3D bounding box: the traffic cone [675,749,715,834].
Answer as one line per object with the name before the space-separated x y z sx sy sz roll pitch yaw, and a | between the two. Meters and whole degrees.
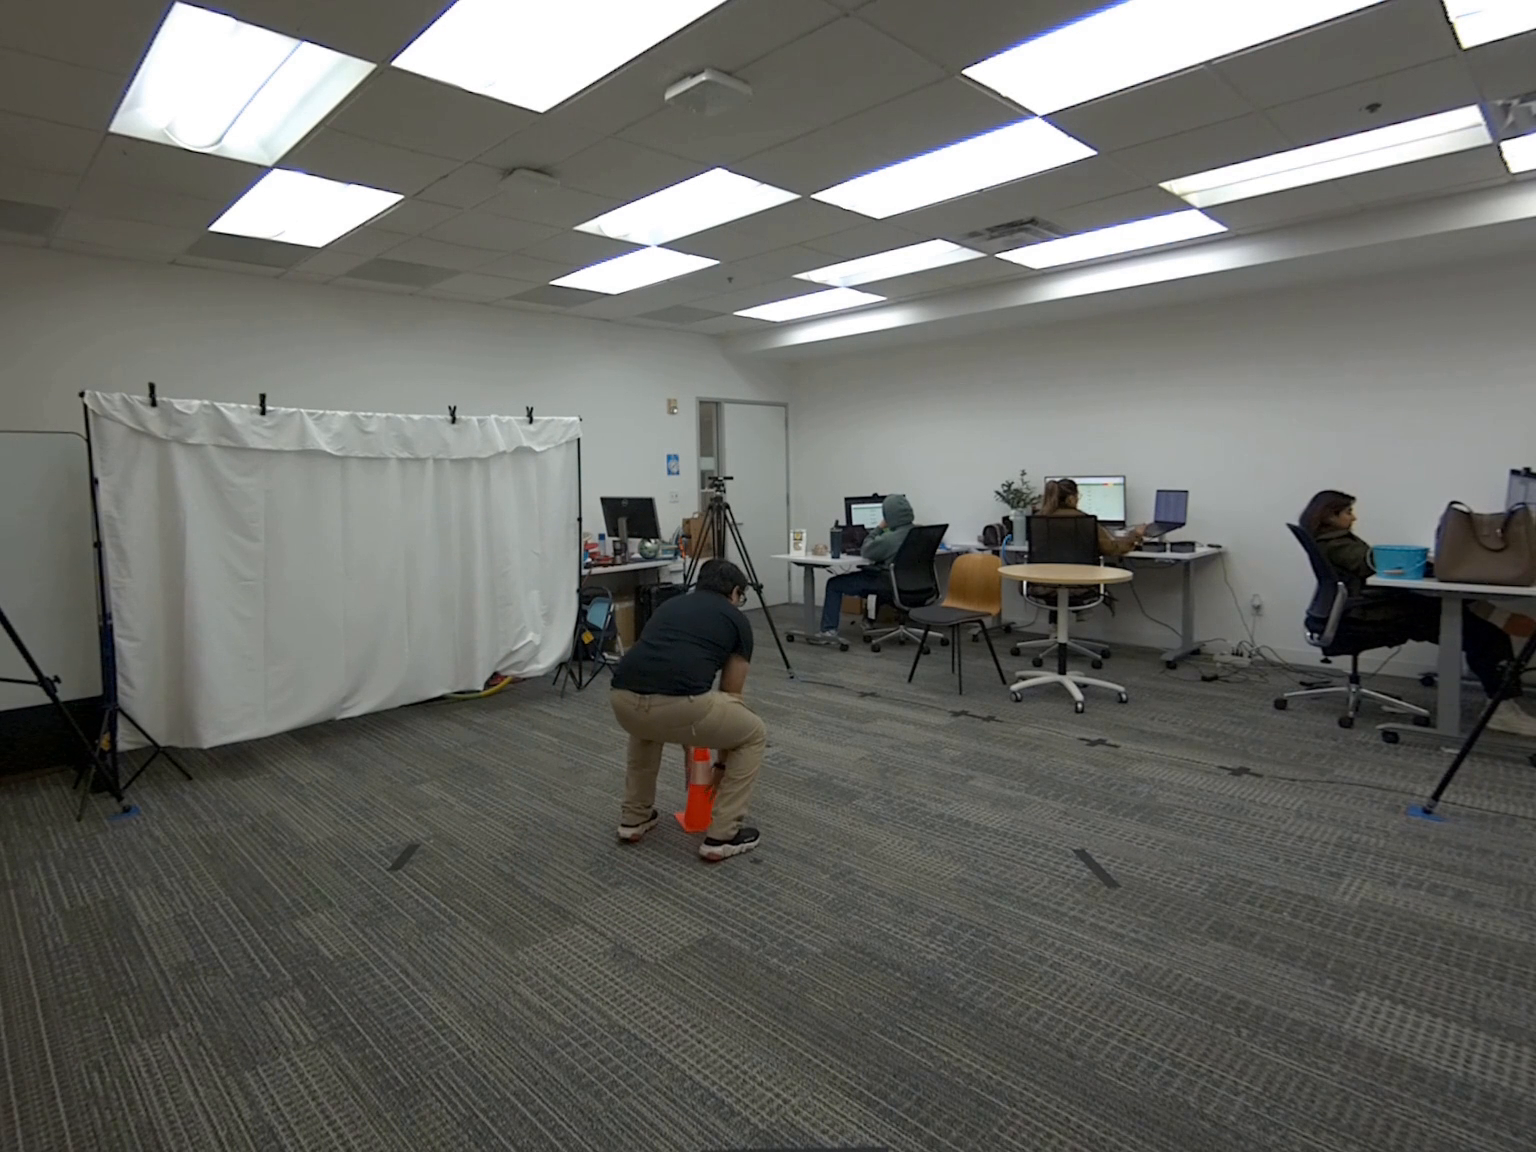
traffic cone | -0.265 0.809 3.471 0.201 0.382 0.208 -4 5 -22
